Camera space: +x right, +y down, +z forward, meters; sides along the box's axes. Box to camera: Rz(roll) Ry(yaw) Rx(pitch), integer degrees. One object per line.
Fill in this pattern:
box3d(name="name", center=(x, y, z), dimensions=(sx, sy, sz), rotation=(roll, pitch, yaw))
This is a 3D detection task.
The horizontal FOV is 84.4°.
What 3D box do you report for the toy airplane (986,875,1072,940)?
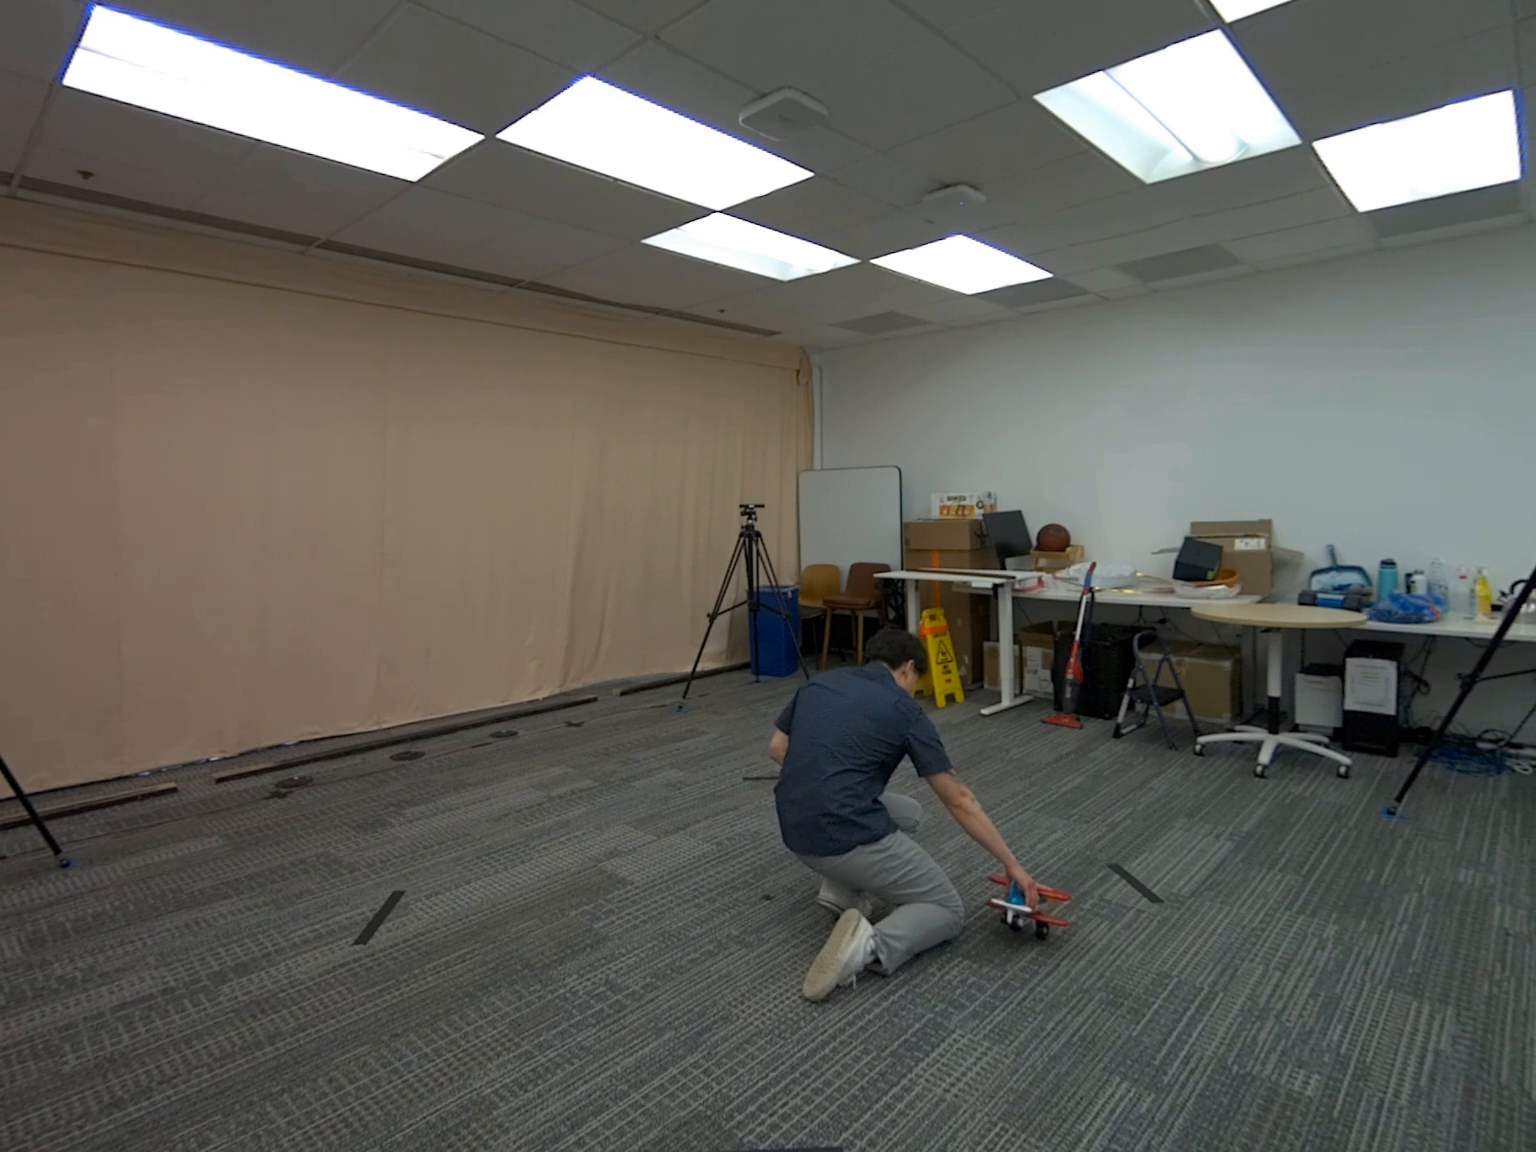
box3d(name="toy airplane", center=(0.833, 1.051, 2.645), dimensions=(0.255, 0.157, 0.254), rotation=(14, -21, 12))
